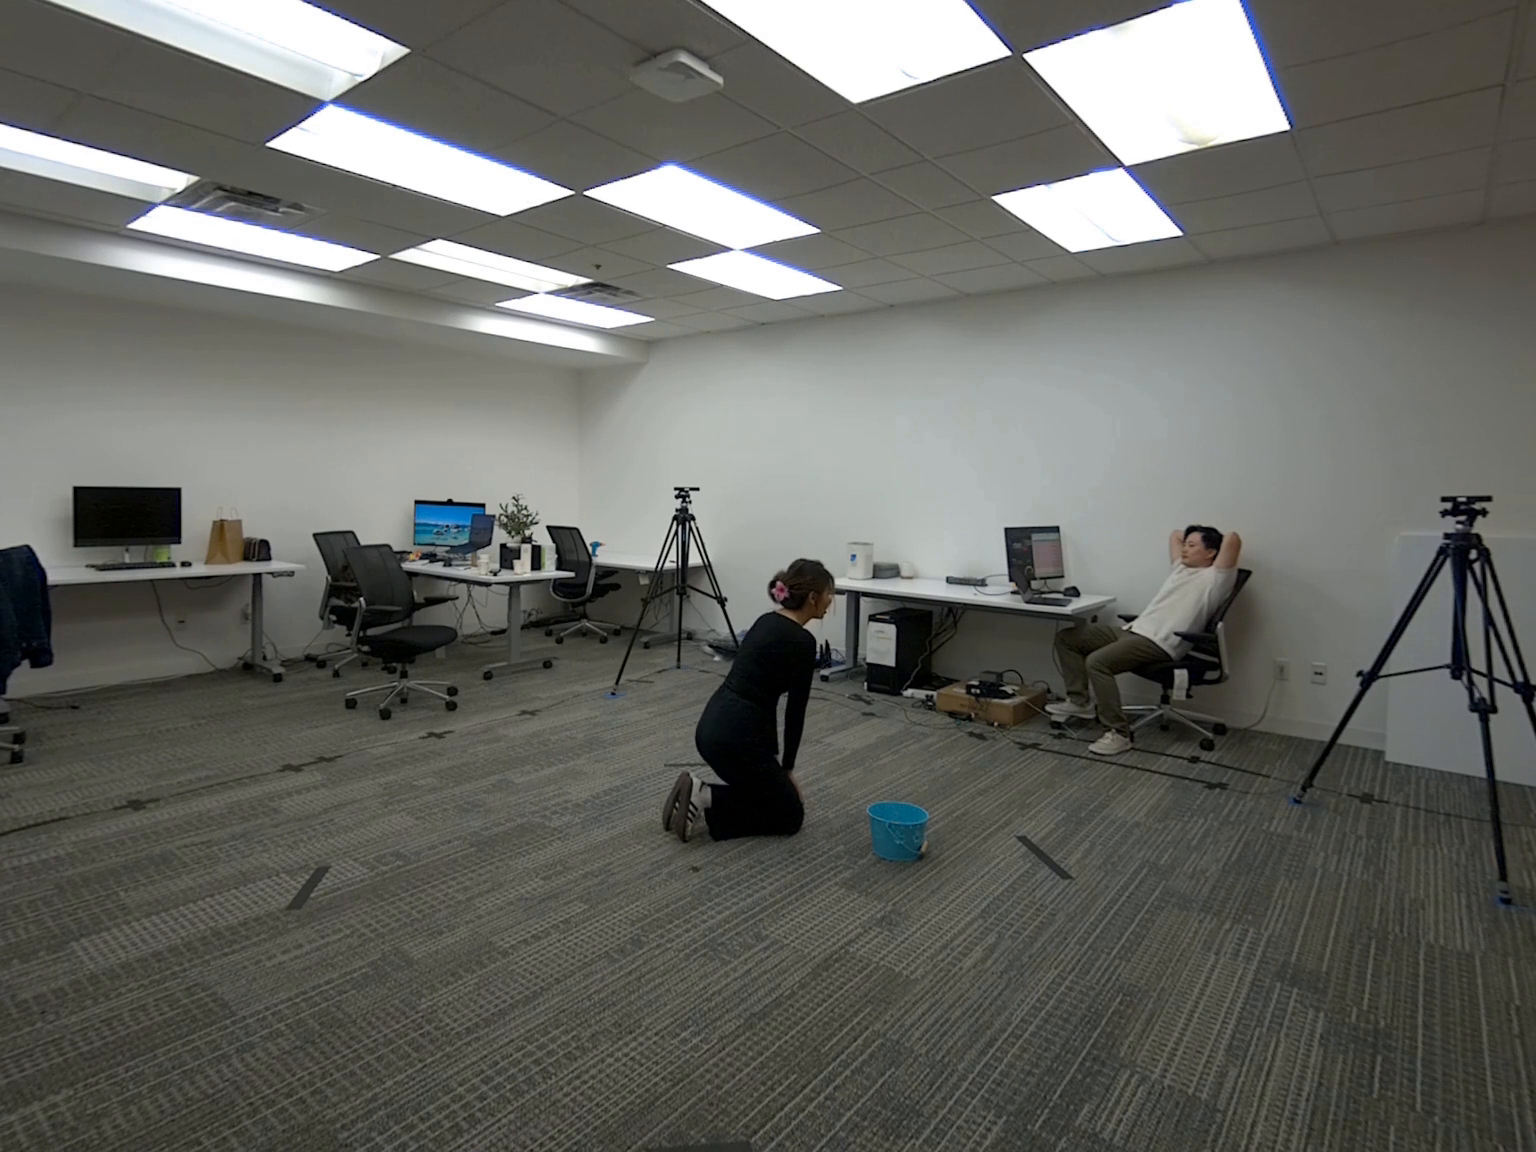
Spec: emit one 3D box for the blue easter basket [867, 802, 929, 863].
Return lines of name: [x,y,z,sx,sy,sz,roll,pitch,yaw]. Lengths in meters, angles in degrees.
blue easter basket: [0.495,0.986,3.291,0.243,0.155,0.245,0,5,-2]
